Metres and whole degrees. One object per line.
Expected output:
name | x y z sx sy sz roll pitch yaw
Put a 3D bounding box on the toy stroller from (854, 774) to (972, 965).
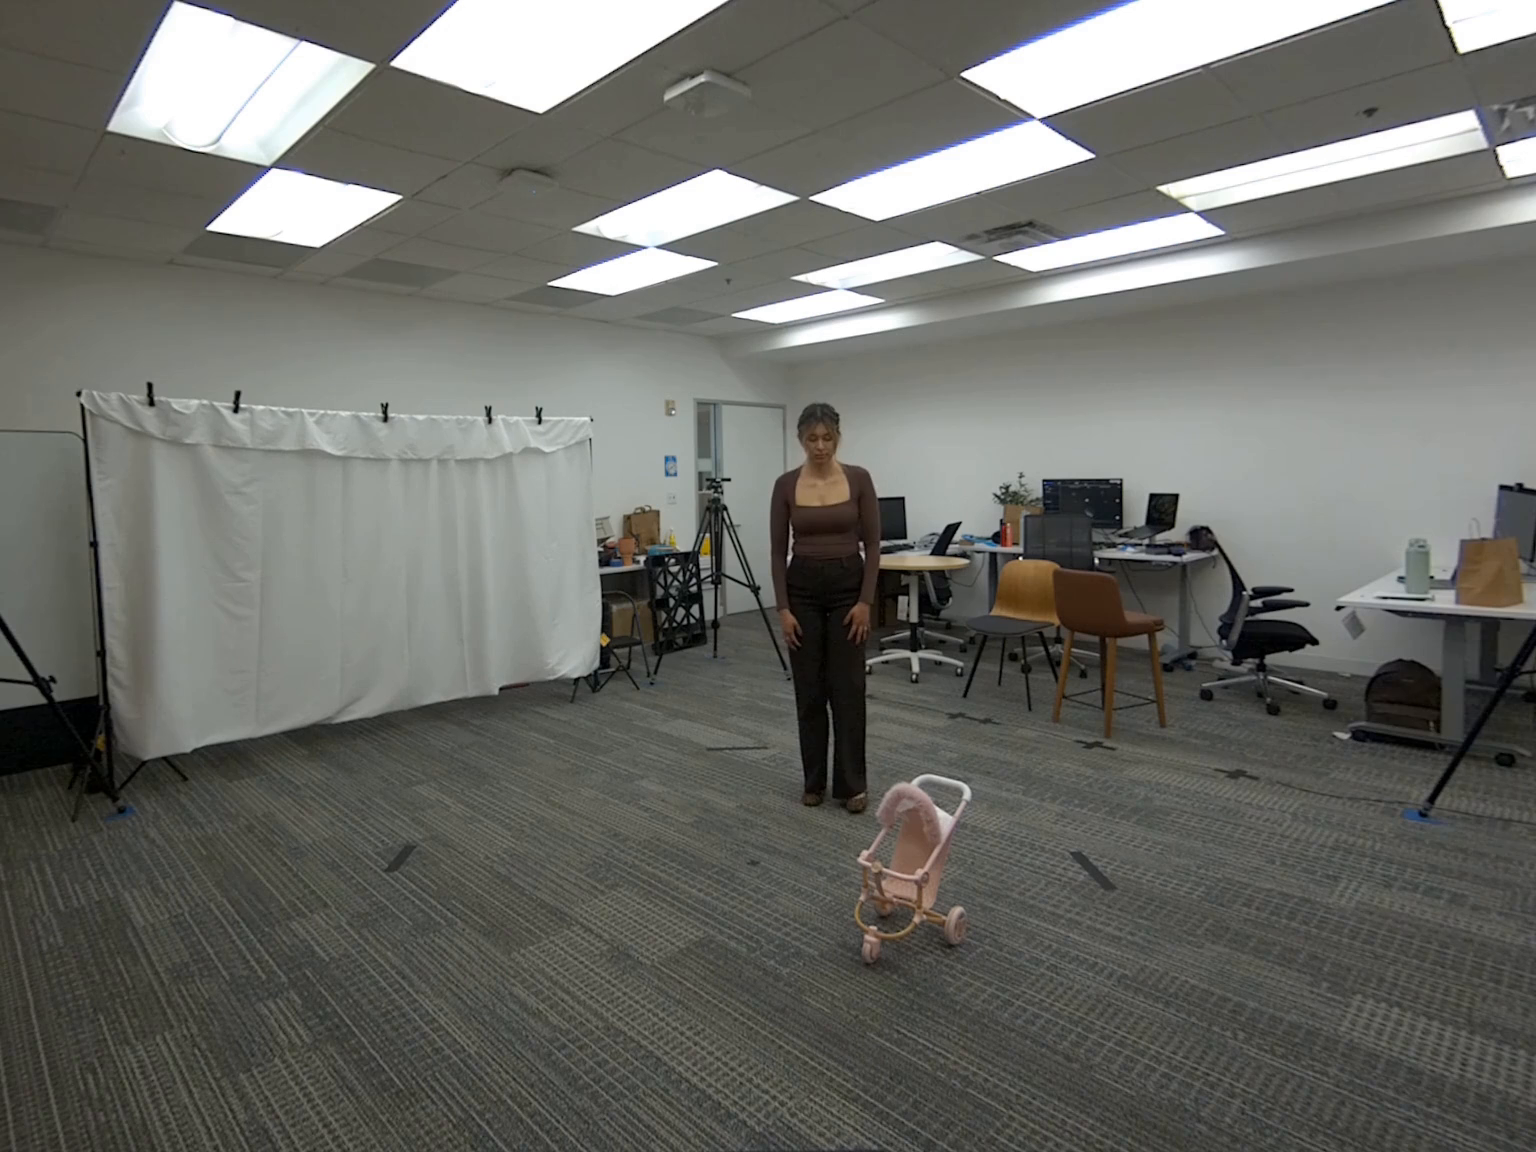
toy stroller | 0.421 0.876 2.579 0.329 0.538 0.290 17 -10 -42
